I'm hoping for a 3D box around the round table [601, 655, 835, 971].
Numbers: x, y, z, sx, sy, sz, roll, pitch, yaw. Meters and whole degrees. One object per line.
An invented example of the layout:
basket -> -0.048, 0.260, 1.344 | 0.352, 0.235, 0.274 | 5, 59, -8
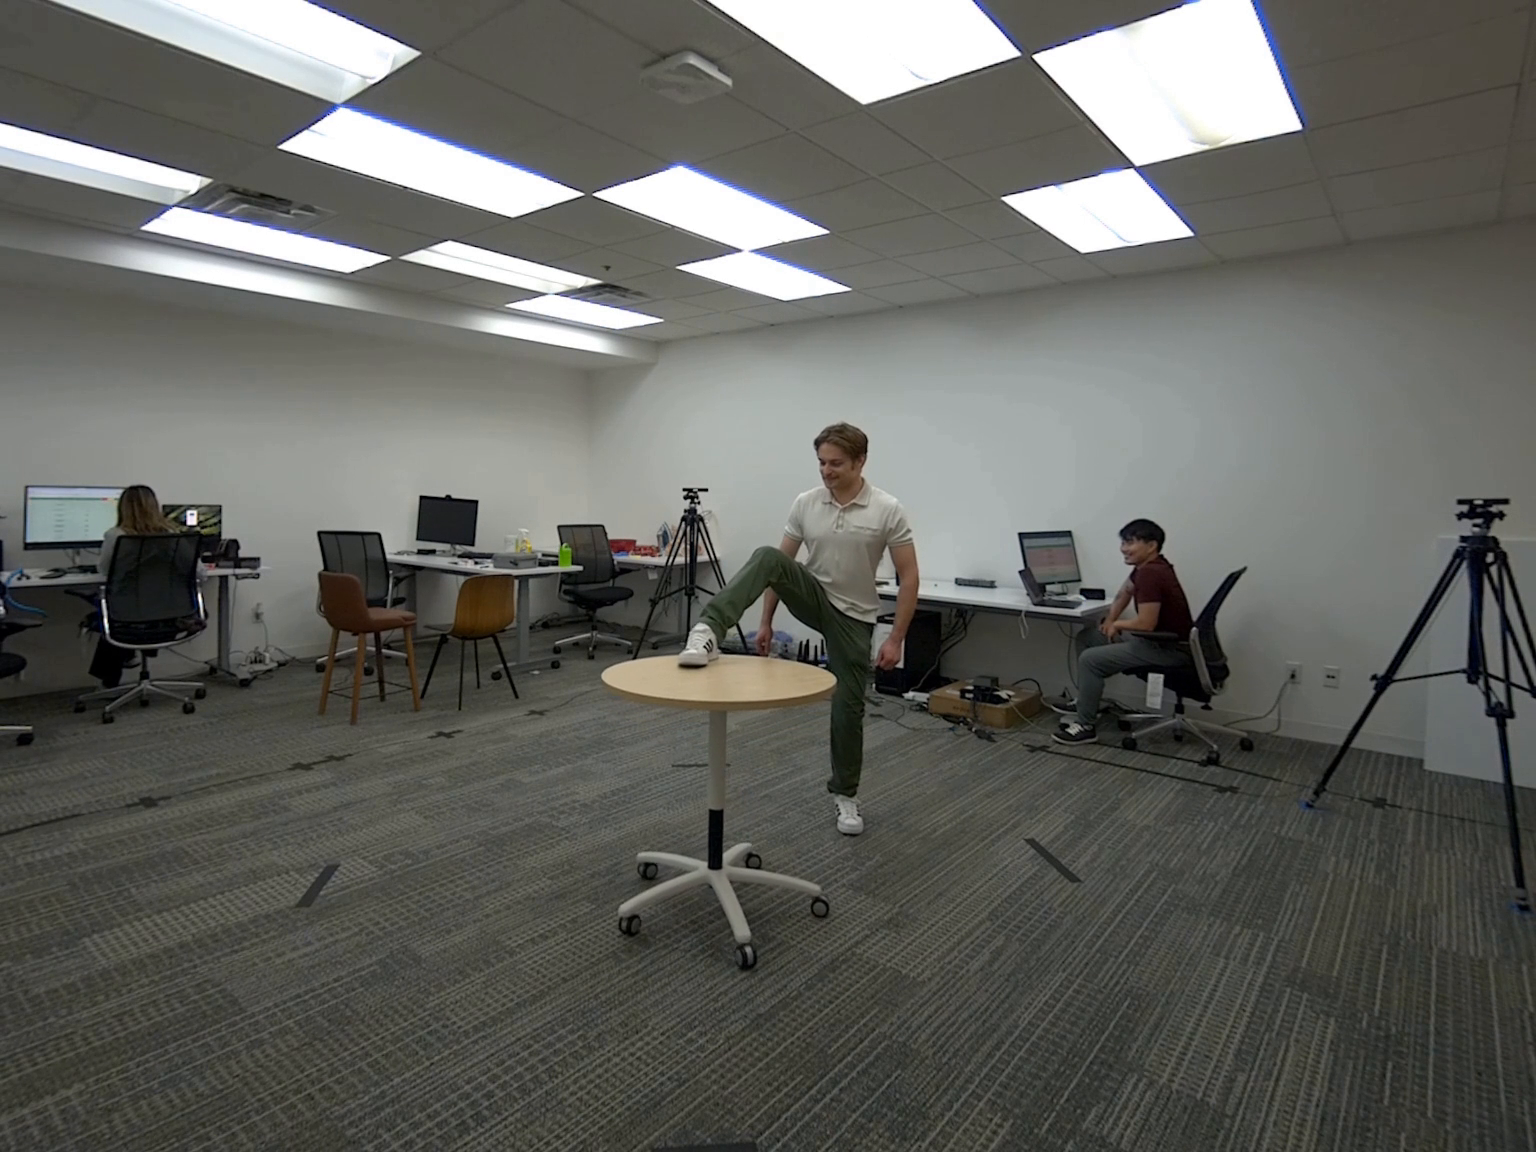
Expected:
round table -> -0.179, 0.715, 2.796 | 0.763, 0.792, 0.767 | 1, 3, -2
